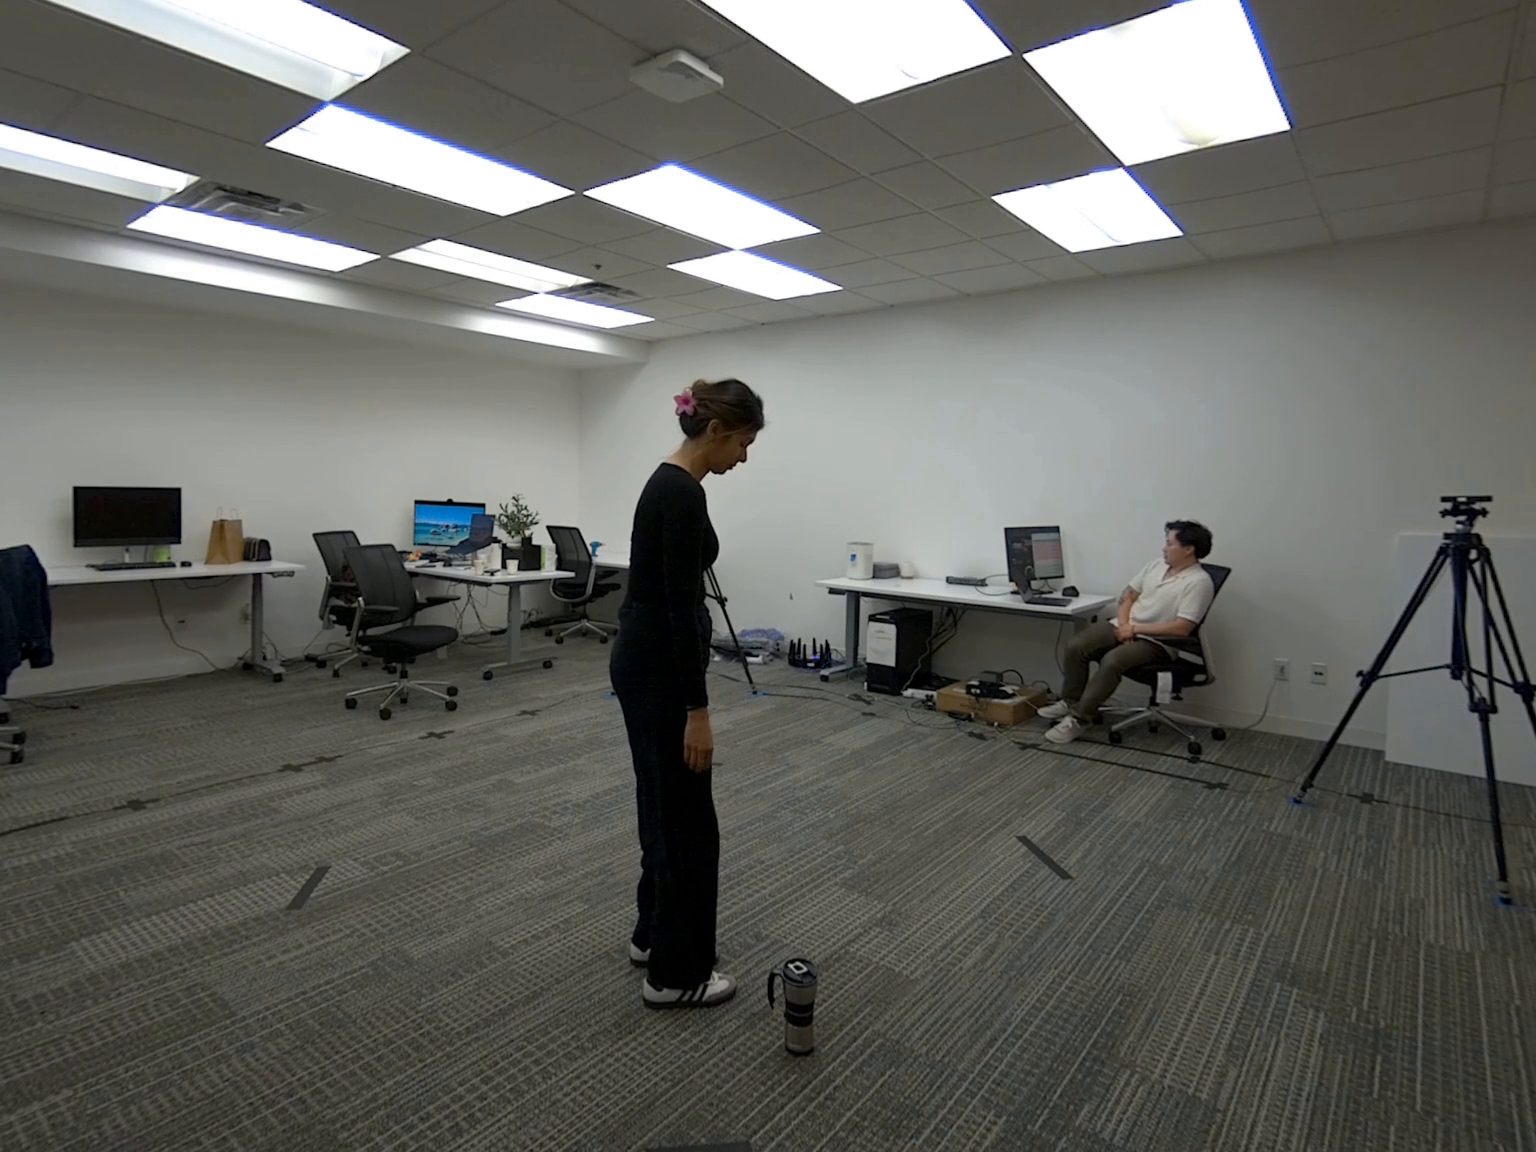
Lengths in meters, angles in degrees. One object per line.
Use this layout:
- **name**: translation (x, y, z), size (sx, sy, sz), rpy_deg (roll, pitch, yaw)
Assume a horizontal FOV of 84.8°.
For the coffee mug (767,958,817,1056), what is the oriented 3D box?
- **coffee mug**: translation (0.060, 1.076, 2.124), size (0.085, 0.201, 0.126), rpy_deg (-10, 14, -43)
